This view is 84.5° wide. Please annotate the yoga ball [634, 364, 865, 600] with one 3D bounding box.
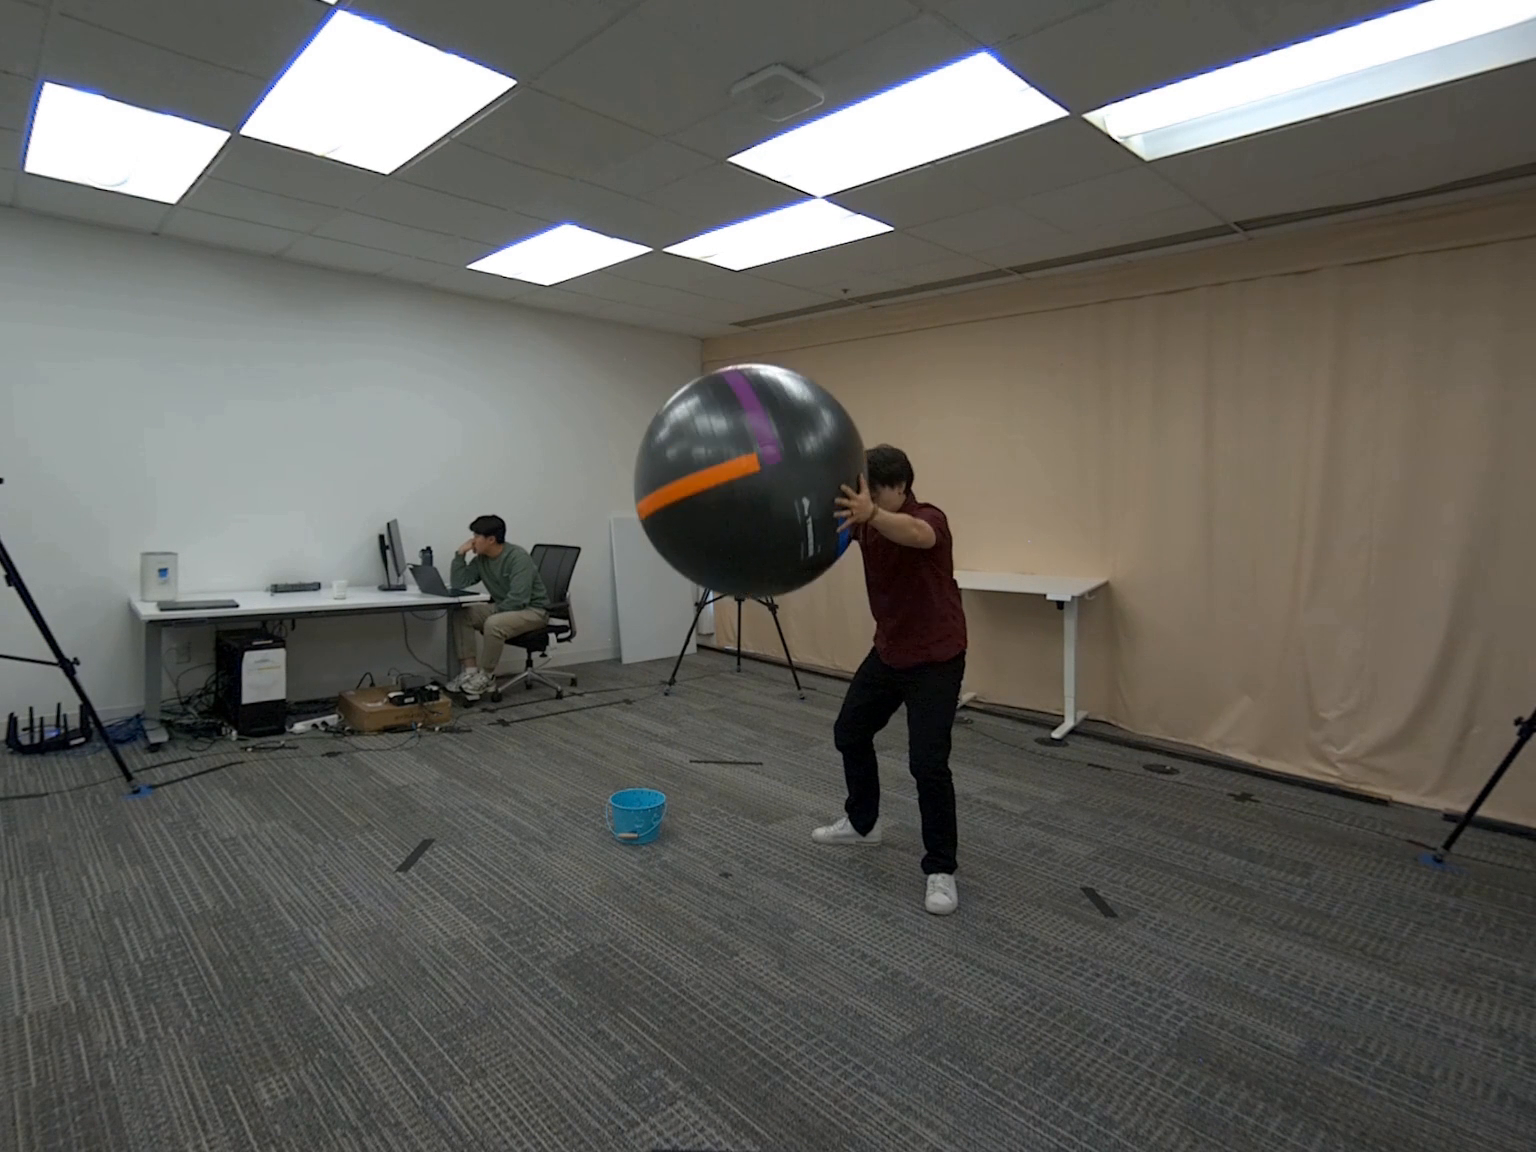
[{"bbox_3d":[-0.053,-0.293,2.753,0.757,0.756,0.761,1,4,-1],"label":"yoga ball"}]
